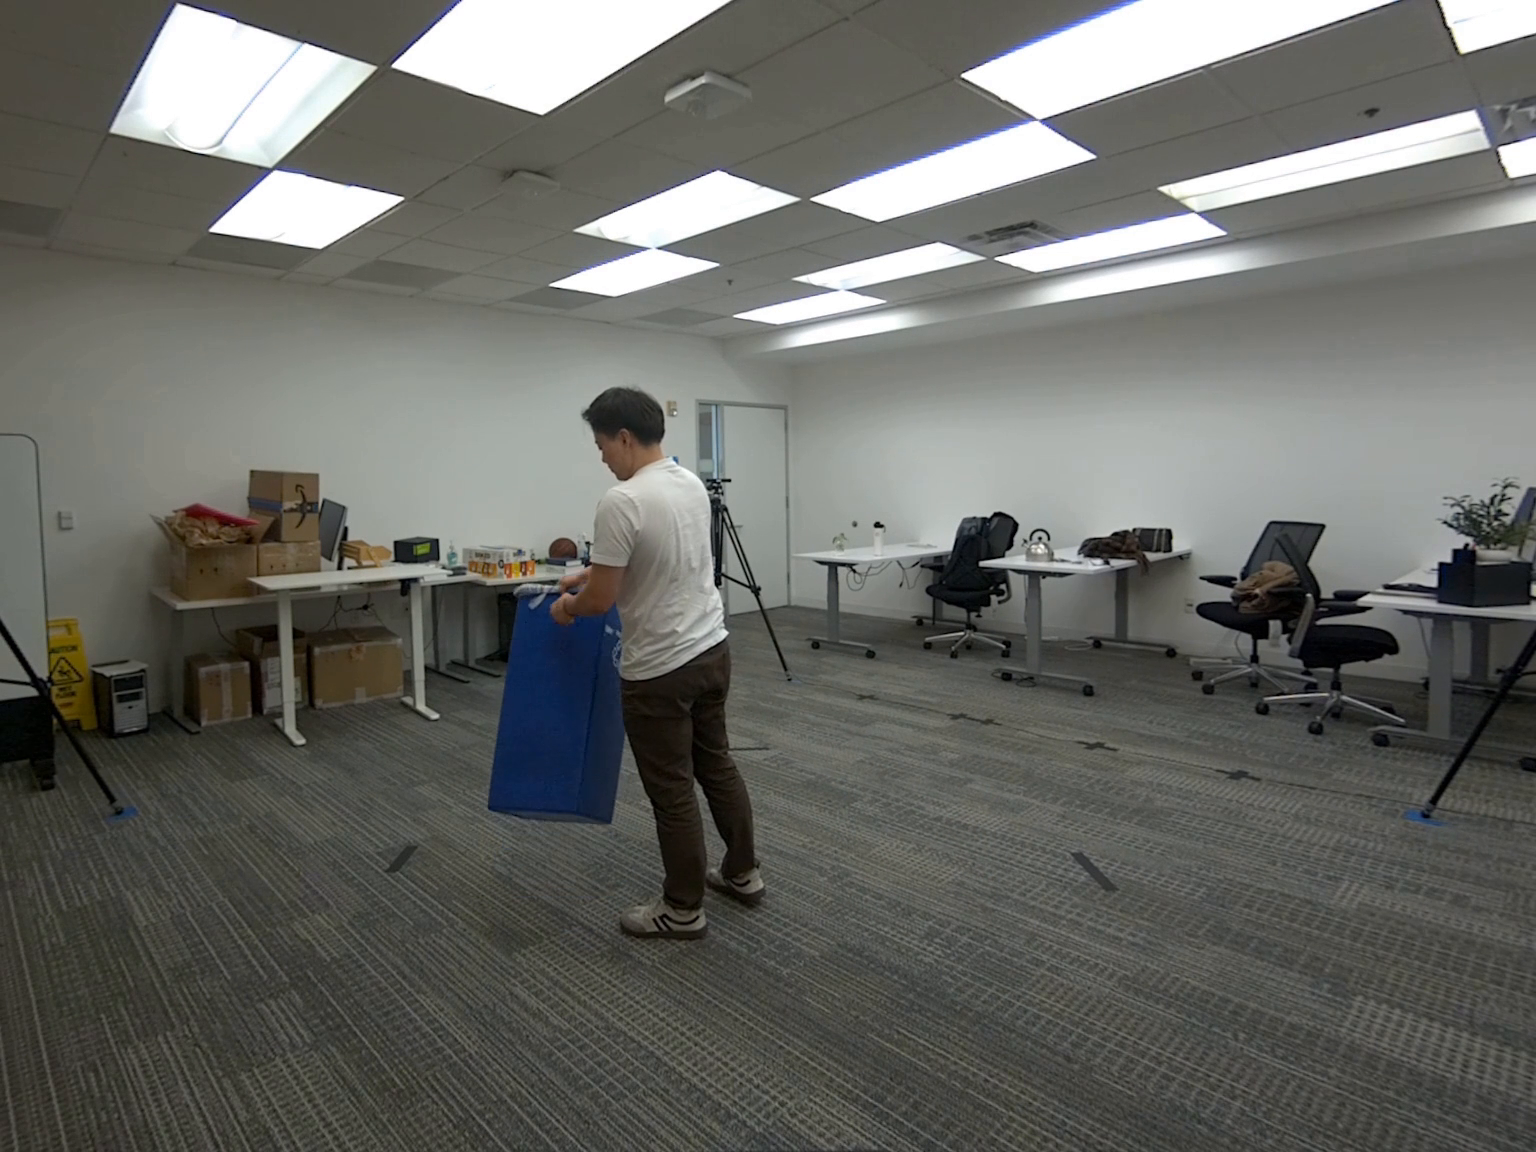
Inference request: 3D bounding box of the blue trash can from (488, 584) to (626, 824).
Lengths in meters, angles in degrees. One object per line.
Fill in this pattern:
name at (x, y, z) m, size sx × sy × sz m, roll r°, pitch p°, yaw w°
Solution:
blue trash can at (-0.662, 0.422, 2.838) m, size 0.379 × 0.727 × 0.366 m, roll -3°, pitch -24°, yaw 14°
